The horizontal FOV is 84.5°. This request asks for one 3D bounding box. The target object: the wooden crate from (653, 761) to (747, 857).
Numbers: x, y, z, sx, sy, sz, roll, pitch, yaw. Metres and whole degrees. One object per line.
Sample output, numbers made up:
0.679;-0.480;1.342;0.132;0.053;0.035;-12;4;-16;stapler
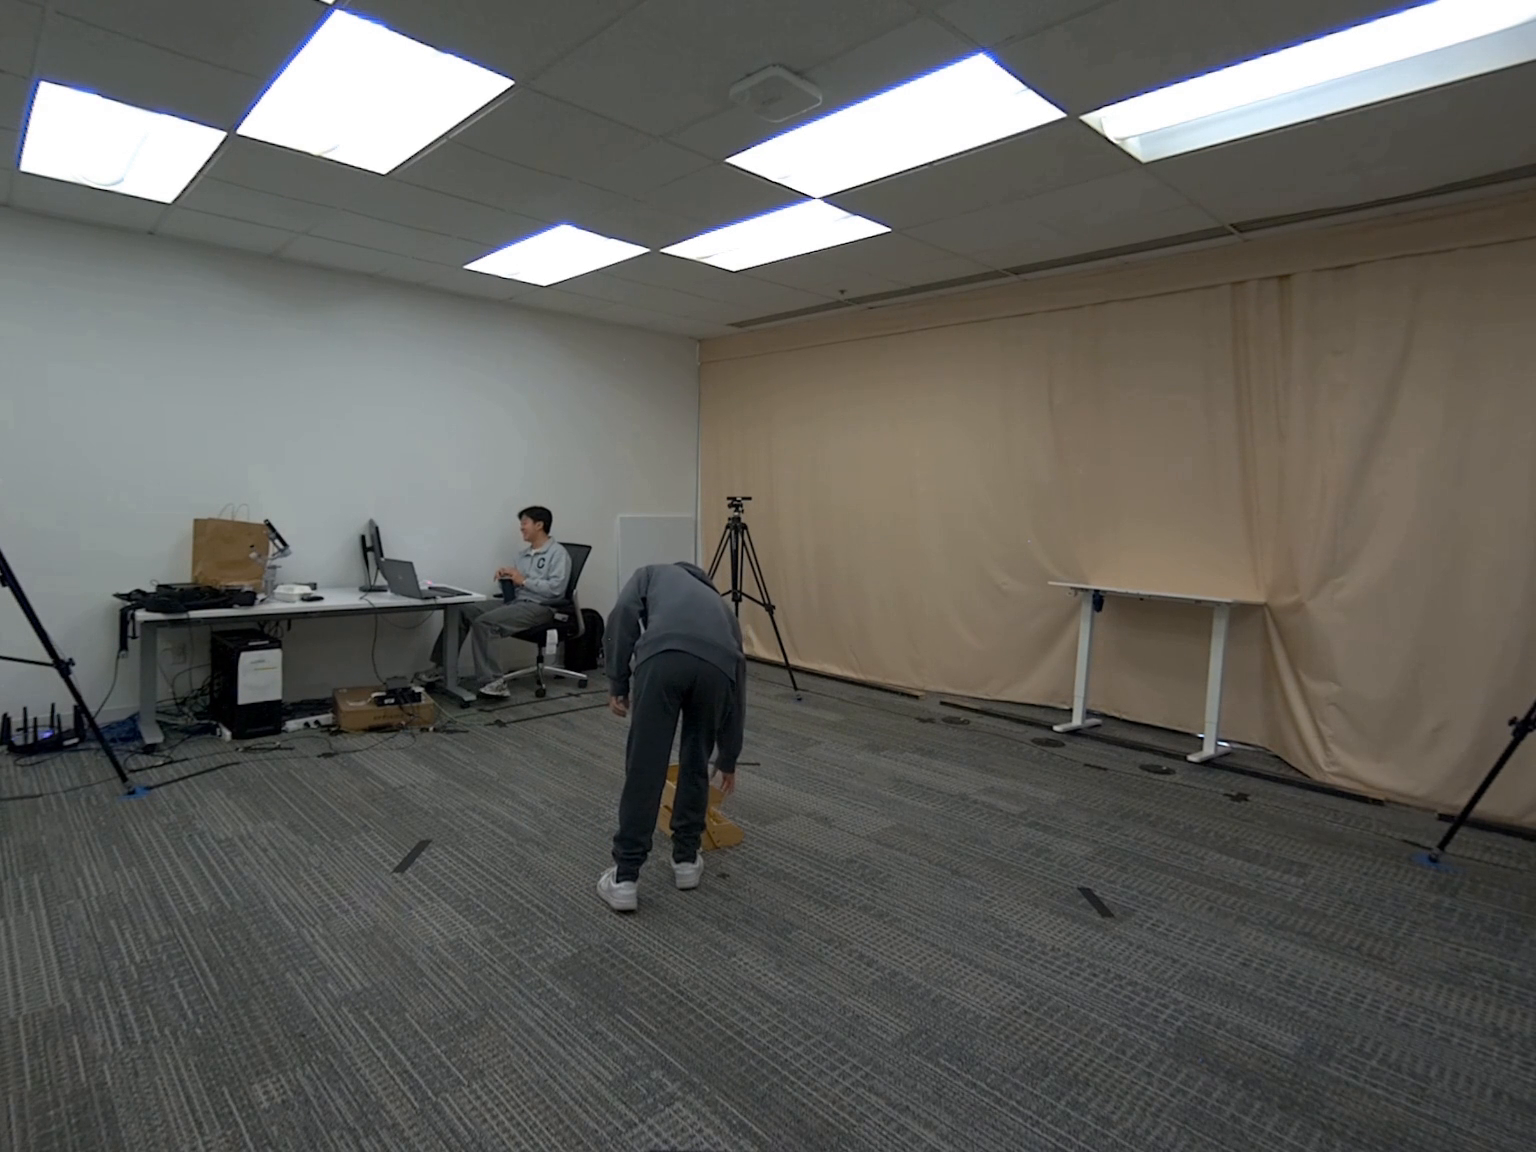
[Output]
-0.304;0.940;3.463;0.296;0.272;0.332;-1;5;-30;wooden crate
